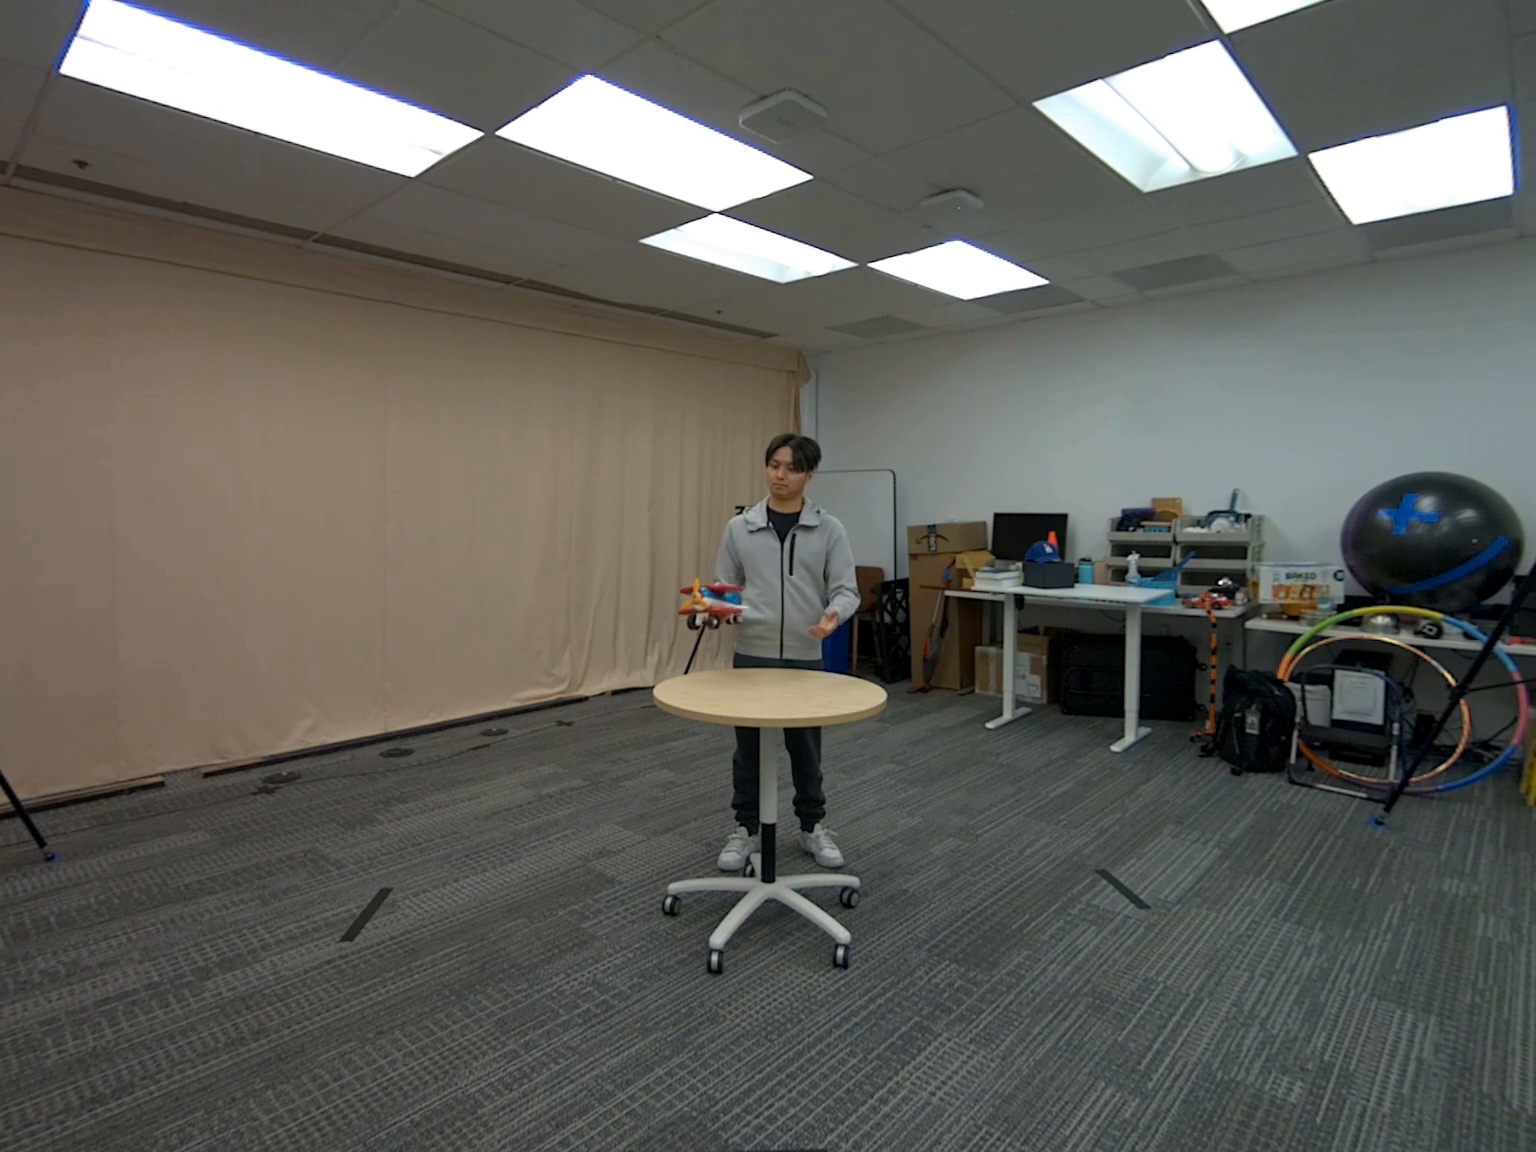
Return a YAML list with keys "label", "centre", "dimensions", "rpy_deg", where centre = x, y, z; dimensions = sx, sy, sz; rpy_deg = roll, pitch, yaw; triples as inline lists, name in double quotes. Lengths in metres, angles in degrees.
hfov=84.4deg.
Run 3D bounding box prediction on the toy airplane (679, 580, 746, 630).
- label: "toy airplane"
  centre: [-0.198, 0.088, 3.009]
  dimensions: [0.253, 0.156, 0.258]
  rpy_deg: [-6, 1, 5]
